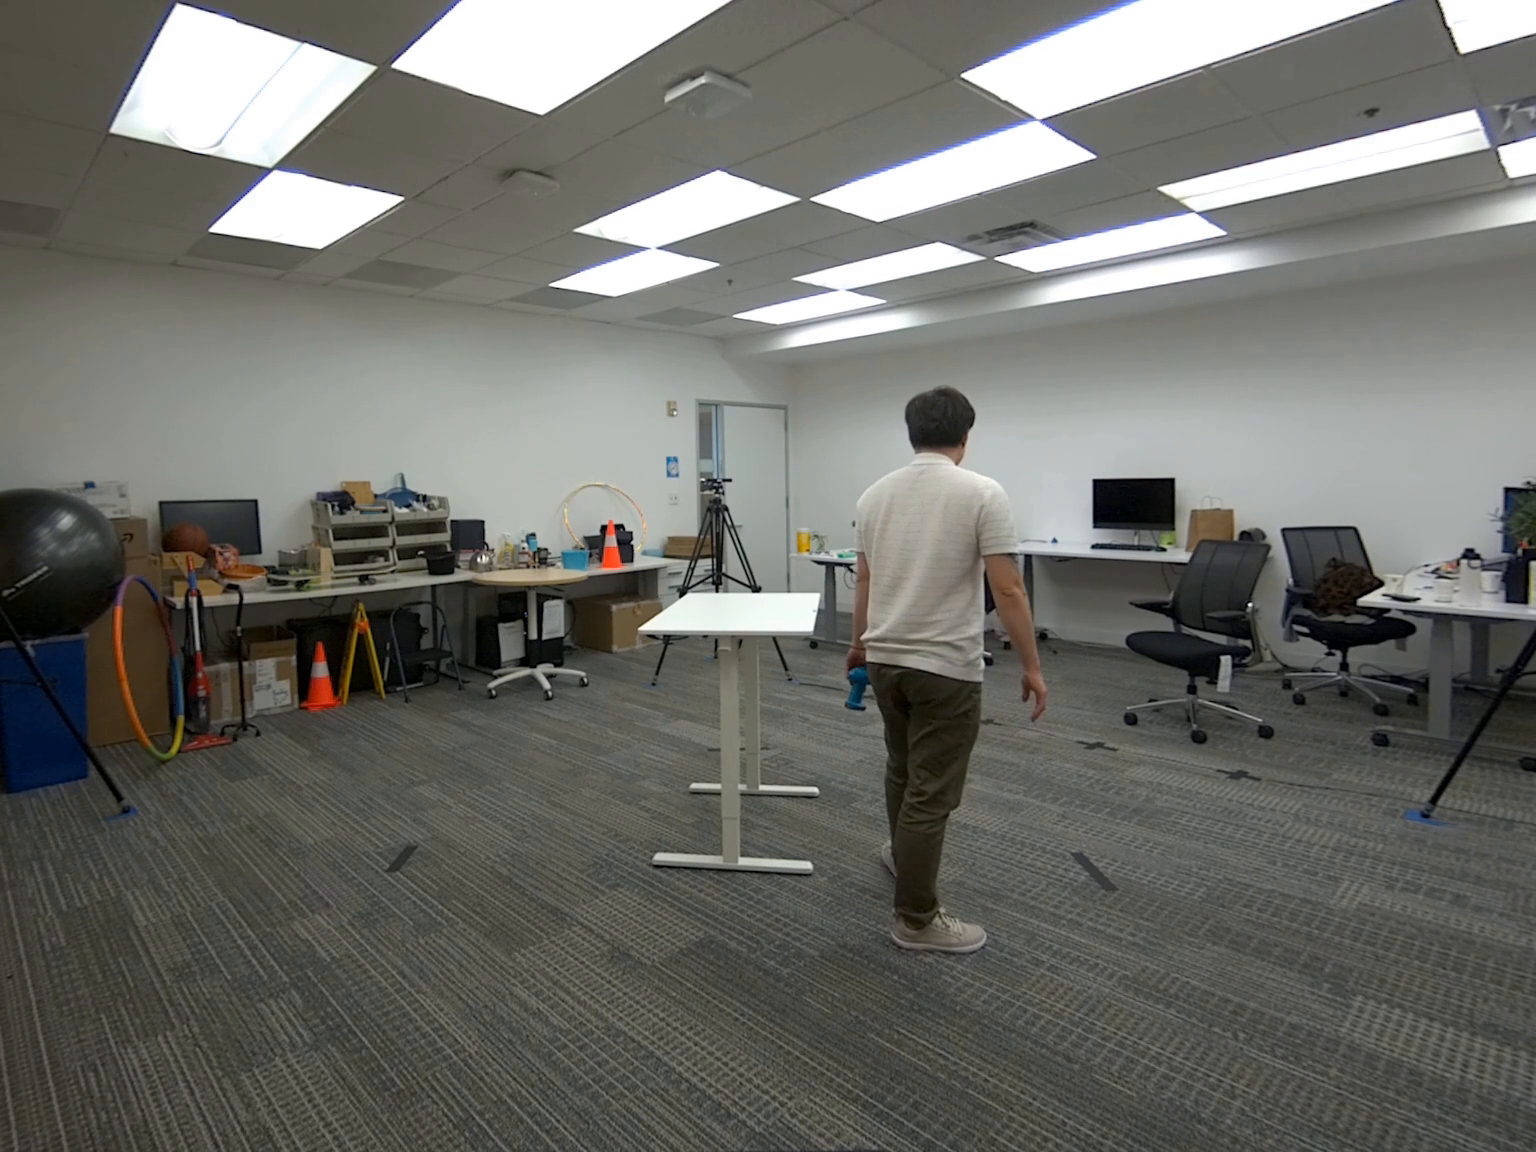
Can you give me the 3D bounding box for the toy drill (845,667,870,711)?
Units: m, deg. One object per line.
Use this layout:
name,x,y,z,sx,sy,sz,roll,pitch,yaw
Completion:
toy drill,0.350,0.376,2.880,0.166,0.145,0.063,8,6,-21
